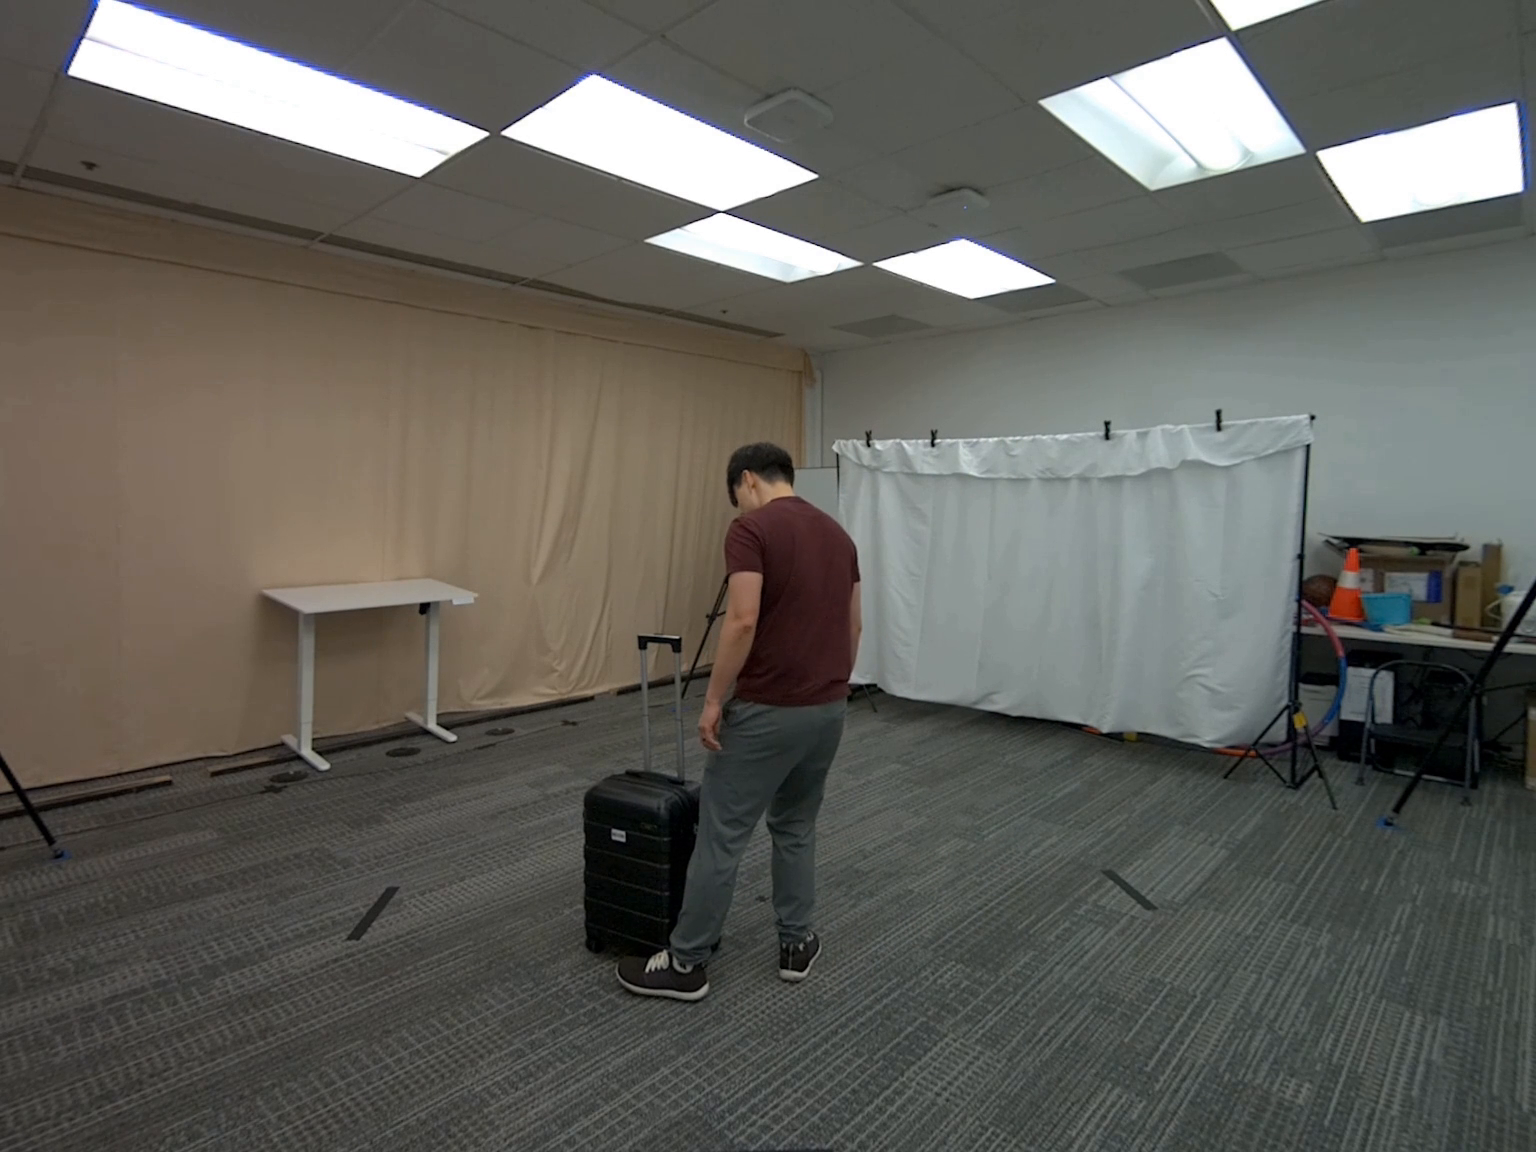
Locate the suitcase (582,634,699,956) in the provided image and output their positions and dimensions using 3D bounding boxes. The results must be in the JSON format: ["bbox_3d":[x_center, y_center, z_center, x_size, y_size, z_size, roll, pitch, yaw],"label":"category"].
[{"bbox_3d":[-0.378,0.700,2.604,0.395,0.975,0.251,1,6,30],"label":"suitcase"}]
